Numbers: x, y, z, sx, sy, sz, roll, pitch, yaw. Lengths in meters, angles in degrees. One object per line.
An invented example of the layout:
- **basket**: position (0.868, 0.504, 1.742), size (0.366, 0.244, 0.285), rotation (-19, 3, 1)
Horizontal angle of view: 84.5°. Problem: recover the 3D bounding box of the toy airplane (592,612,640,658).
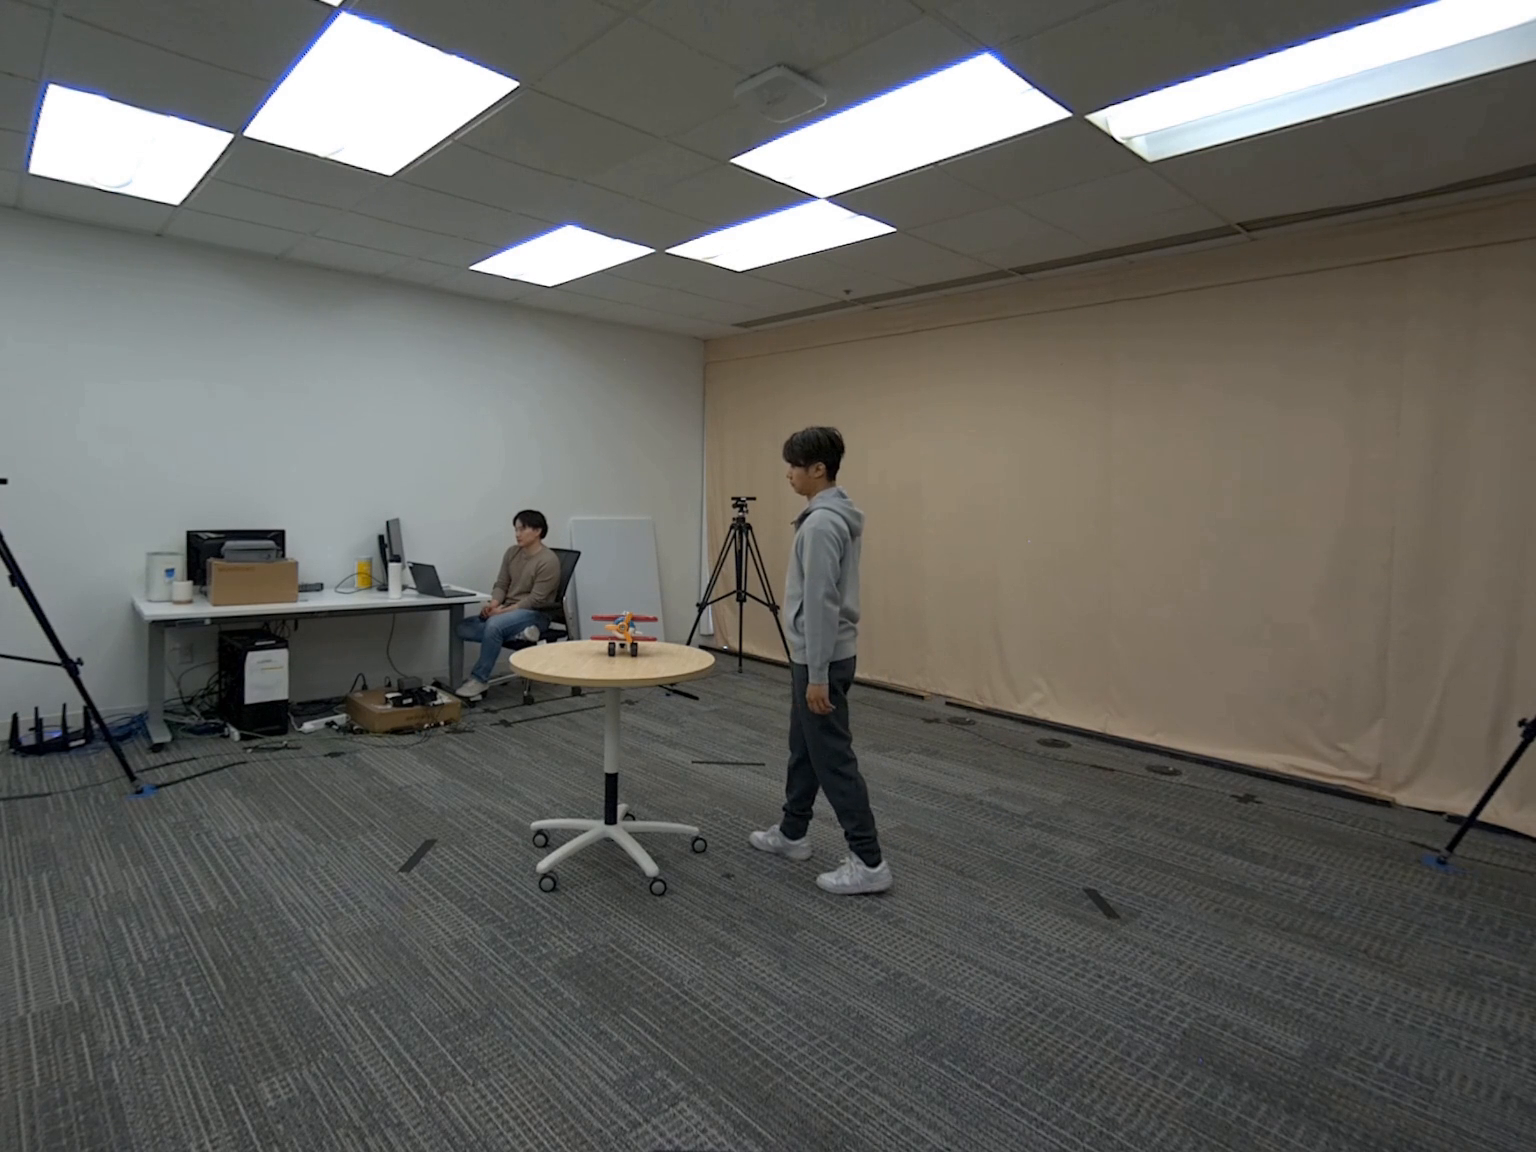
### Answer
- **toy airplane**: position (-0.583, 0.219, 3.295), size (0.246, 0.156, 0.265), rotation (-1, 7, -28)
